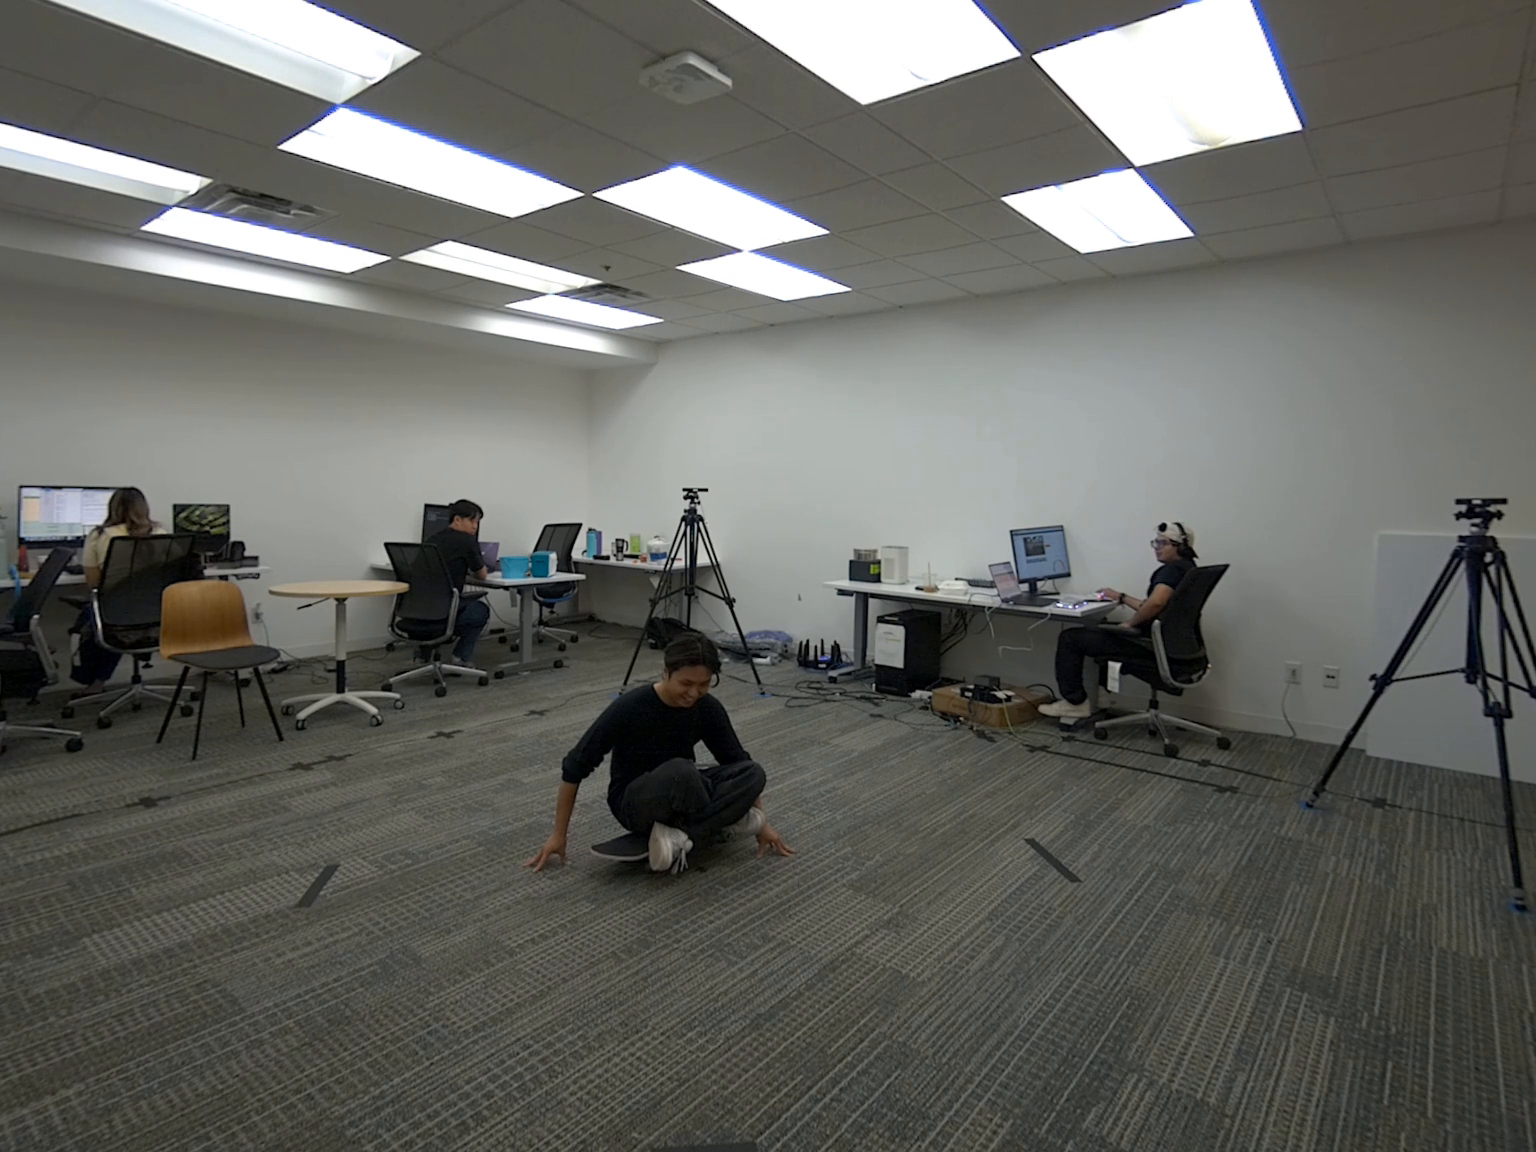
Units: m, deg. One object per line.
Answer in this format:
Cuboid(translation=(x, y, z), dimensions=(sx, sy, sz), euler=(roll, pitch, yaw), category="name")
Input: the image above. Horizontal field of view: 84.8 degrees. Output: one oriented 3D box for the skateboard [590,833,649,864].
Cuboid(translation=(-0.340, 1.004, 3.254), dimensions=(0.199, 0.110, 0.763), euler=(2, 5, 36), category="skateboard")
